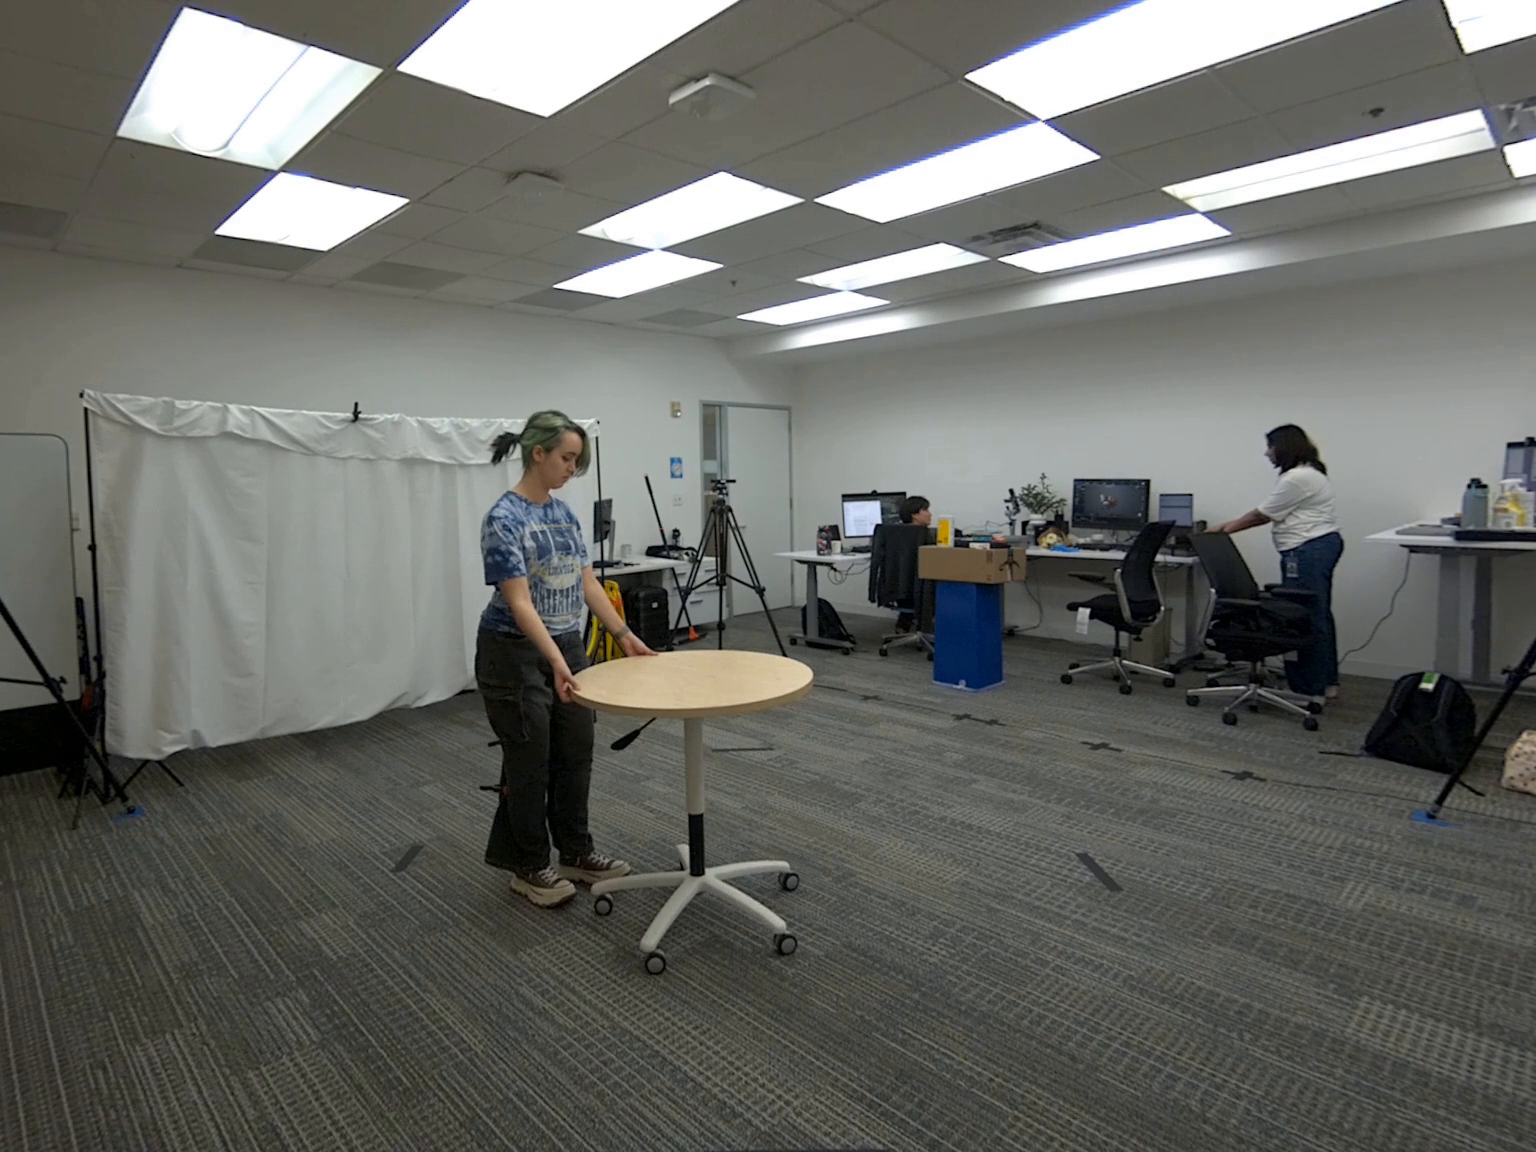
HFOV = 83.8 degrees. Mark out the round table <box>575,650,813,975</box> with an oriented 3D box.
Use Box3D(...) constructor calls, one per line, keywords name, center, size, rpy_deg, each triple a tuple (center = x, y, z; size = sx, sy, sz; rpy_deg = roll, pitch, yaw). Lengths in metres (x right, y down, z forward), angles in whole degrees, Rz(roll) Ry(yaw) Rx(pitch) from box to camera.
Box3D(name="round table", center=(-0.218, 0.704, 2.724), size=(0.763, 0.791, 0.768), rpy_deg=(-2, 5, -2))
